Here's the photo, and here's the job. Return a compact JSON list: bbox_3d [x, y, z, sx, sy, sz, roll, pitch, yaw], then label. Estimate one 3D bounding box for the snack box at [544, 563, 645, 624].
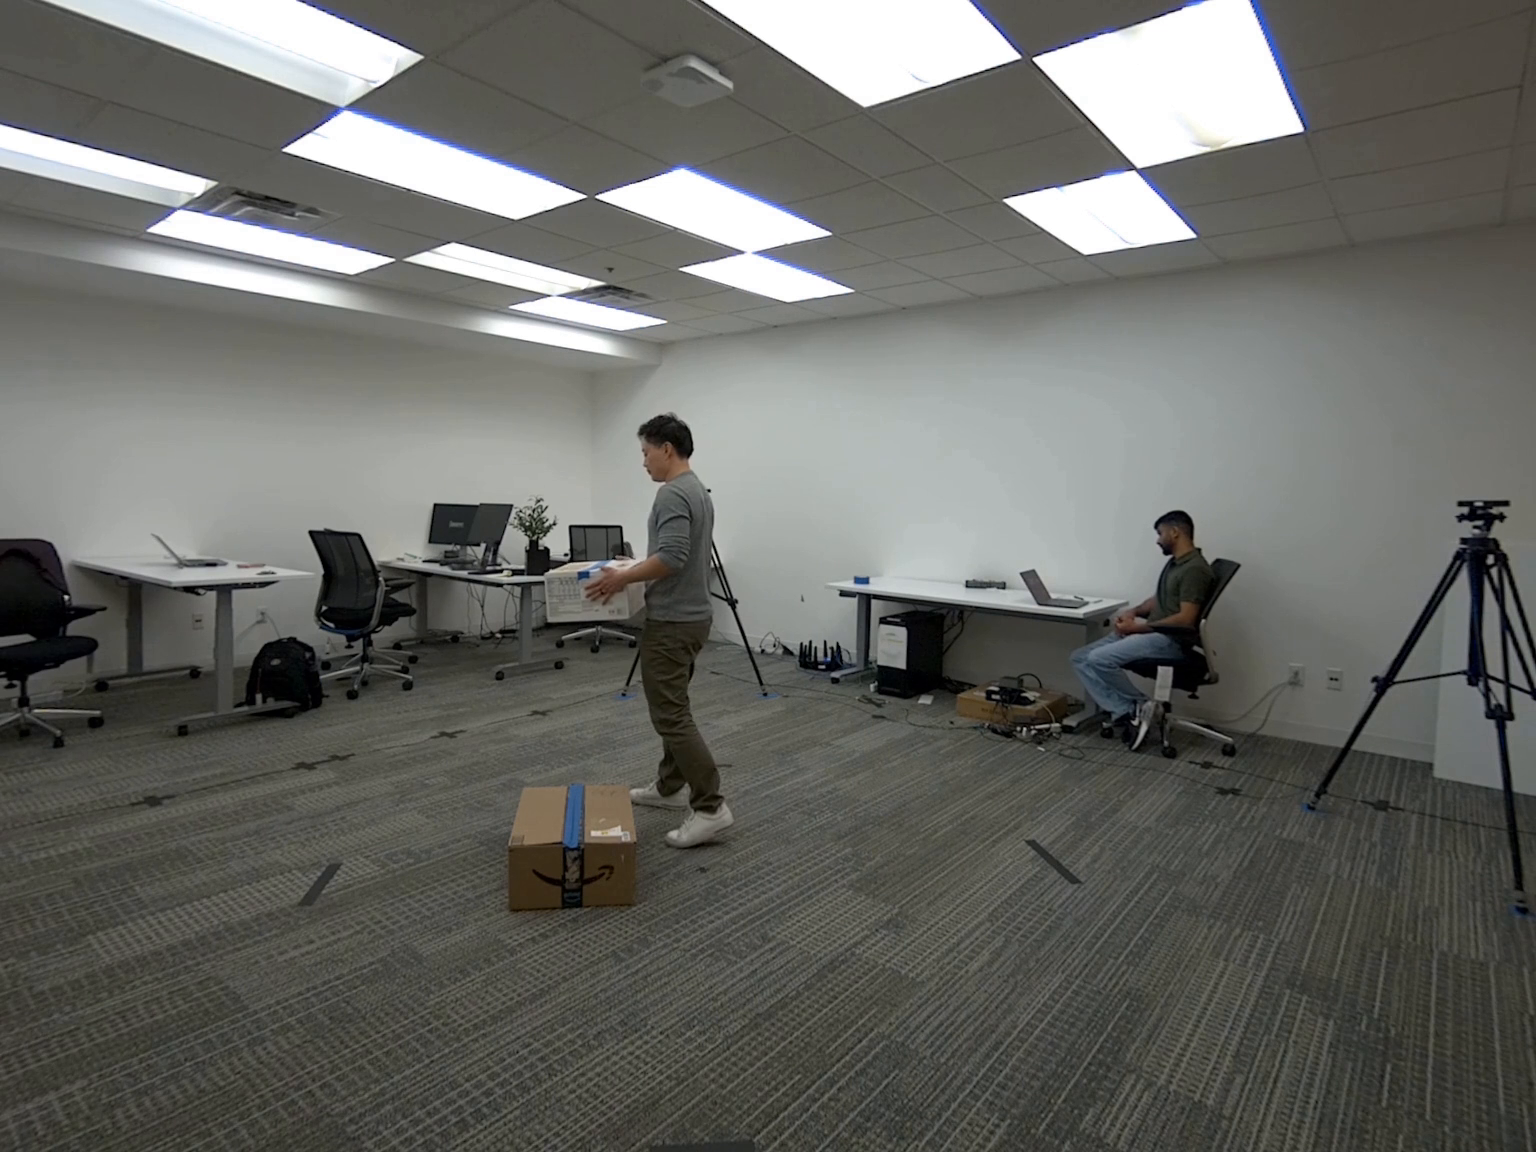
[{"bbox_3d":[-0.754,0.062,3.640,0.342,0.205,0.405,-3,6,4],"label":"snack box"}]
